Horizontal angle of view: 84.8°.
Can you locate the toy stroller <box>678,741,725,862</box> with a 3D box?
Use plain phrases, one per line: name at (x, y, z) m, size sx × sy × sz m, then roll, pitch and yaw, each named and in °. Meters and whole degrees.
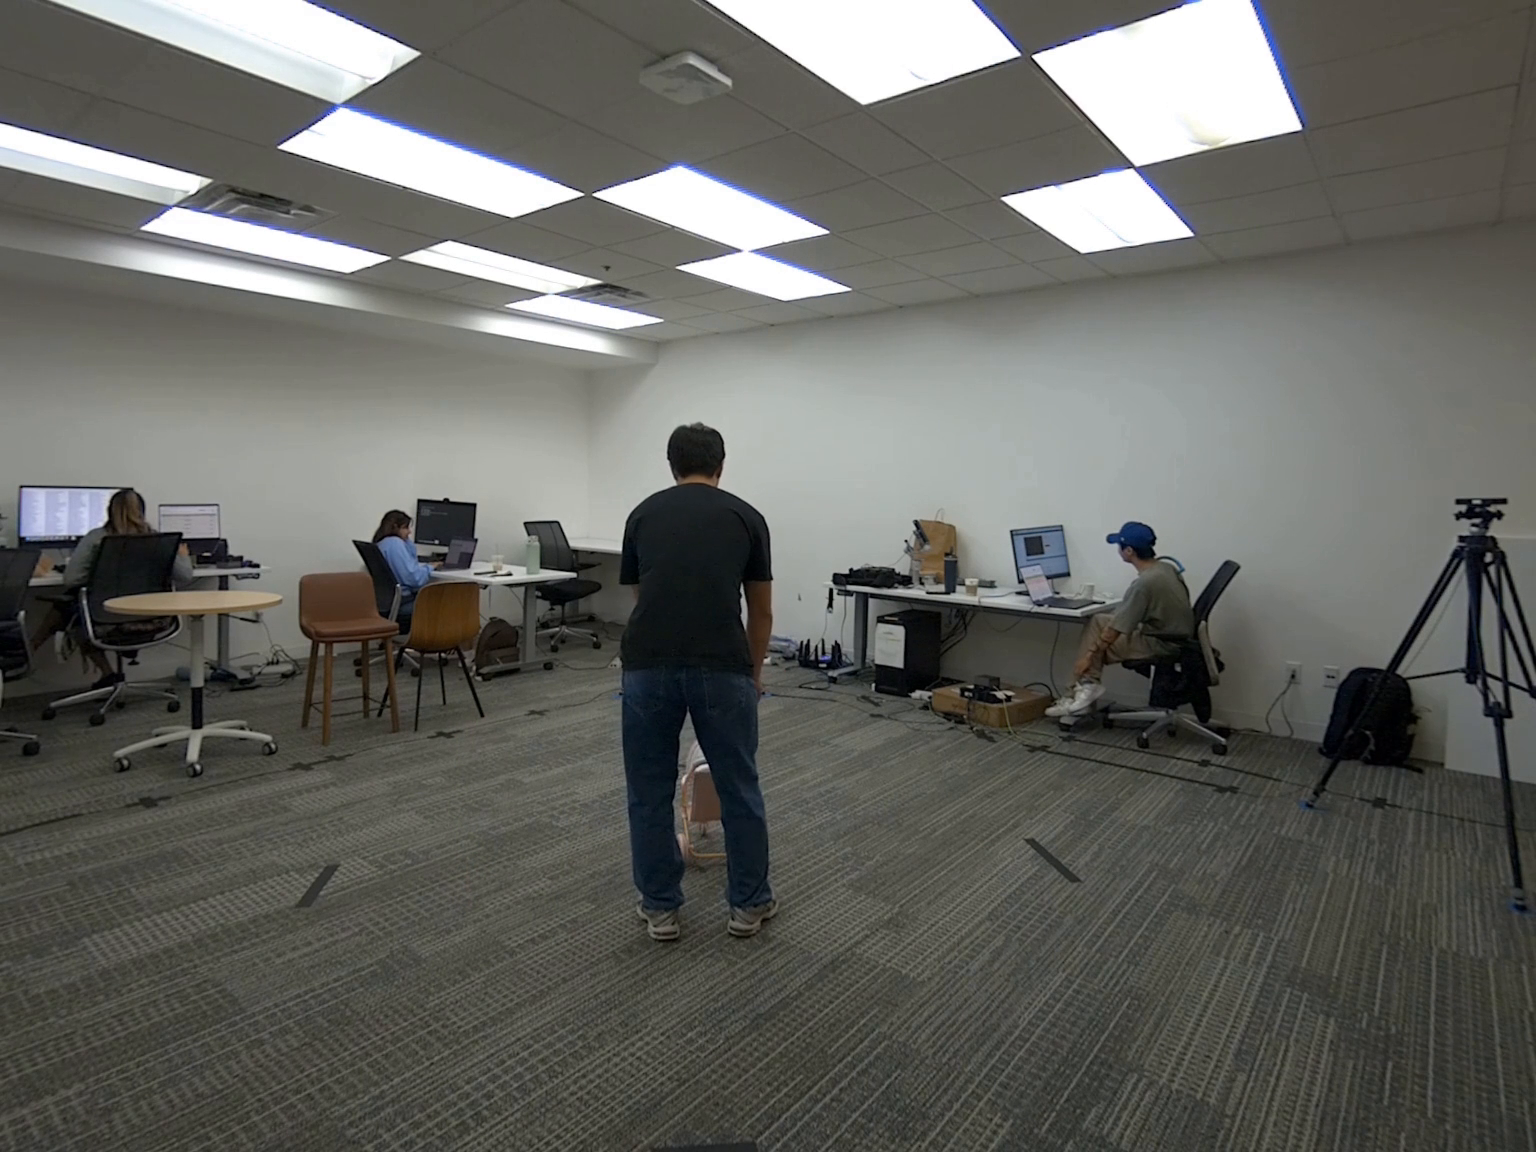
toy stroller at (-0.227, 0.836, 3.245) m, size 0.278 × 0.527 × 0.350 m, roll -1°, pitch 18°, yaw -11°
